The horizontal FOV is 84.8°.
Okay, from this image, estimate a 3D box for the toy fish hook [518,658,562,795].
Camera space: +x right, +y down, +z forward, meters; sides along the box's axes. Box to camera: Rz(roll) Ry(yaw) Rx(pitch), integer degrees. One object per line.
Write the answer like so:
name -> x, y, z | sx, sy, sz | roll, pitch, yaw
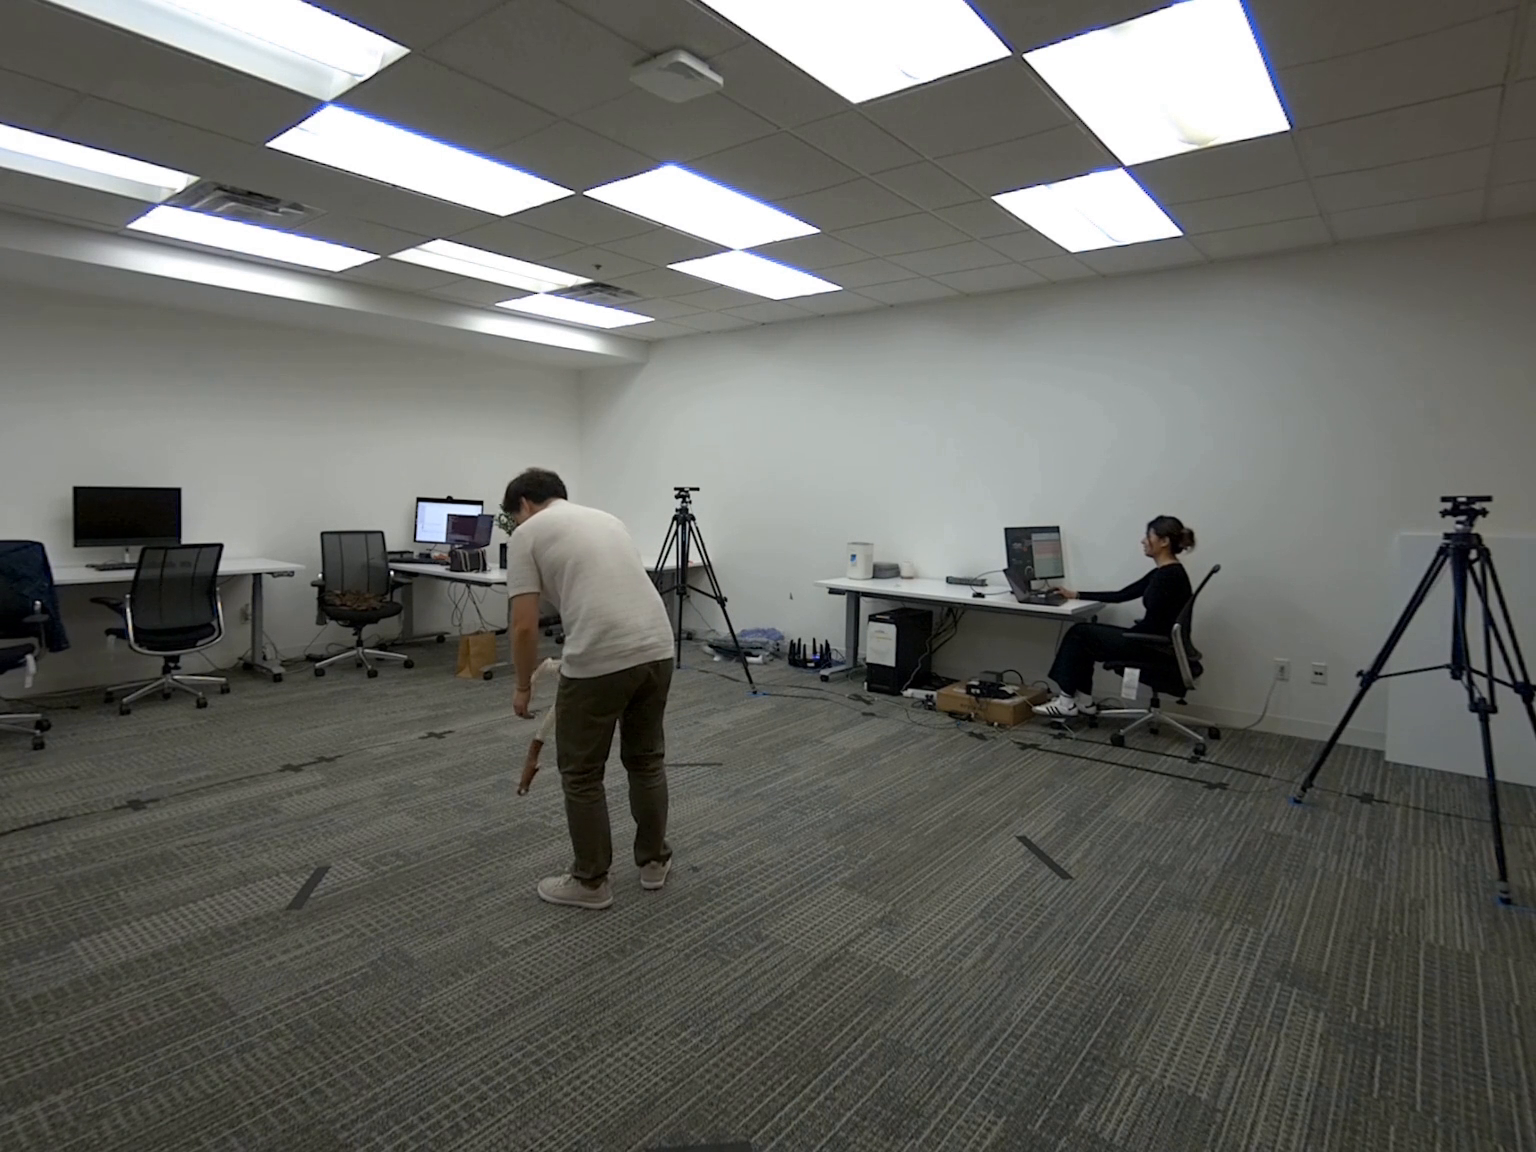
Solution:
toy fish hook -> -0.882, 0.555, 3.159 | 0.232, 0.511, 0.046 | 6, -19, 35
